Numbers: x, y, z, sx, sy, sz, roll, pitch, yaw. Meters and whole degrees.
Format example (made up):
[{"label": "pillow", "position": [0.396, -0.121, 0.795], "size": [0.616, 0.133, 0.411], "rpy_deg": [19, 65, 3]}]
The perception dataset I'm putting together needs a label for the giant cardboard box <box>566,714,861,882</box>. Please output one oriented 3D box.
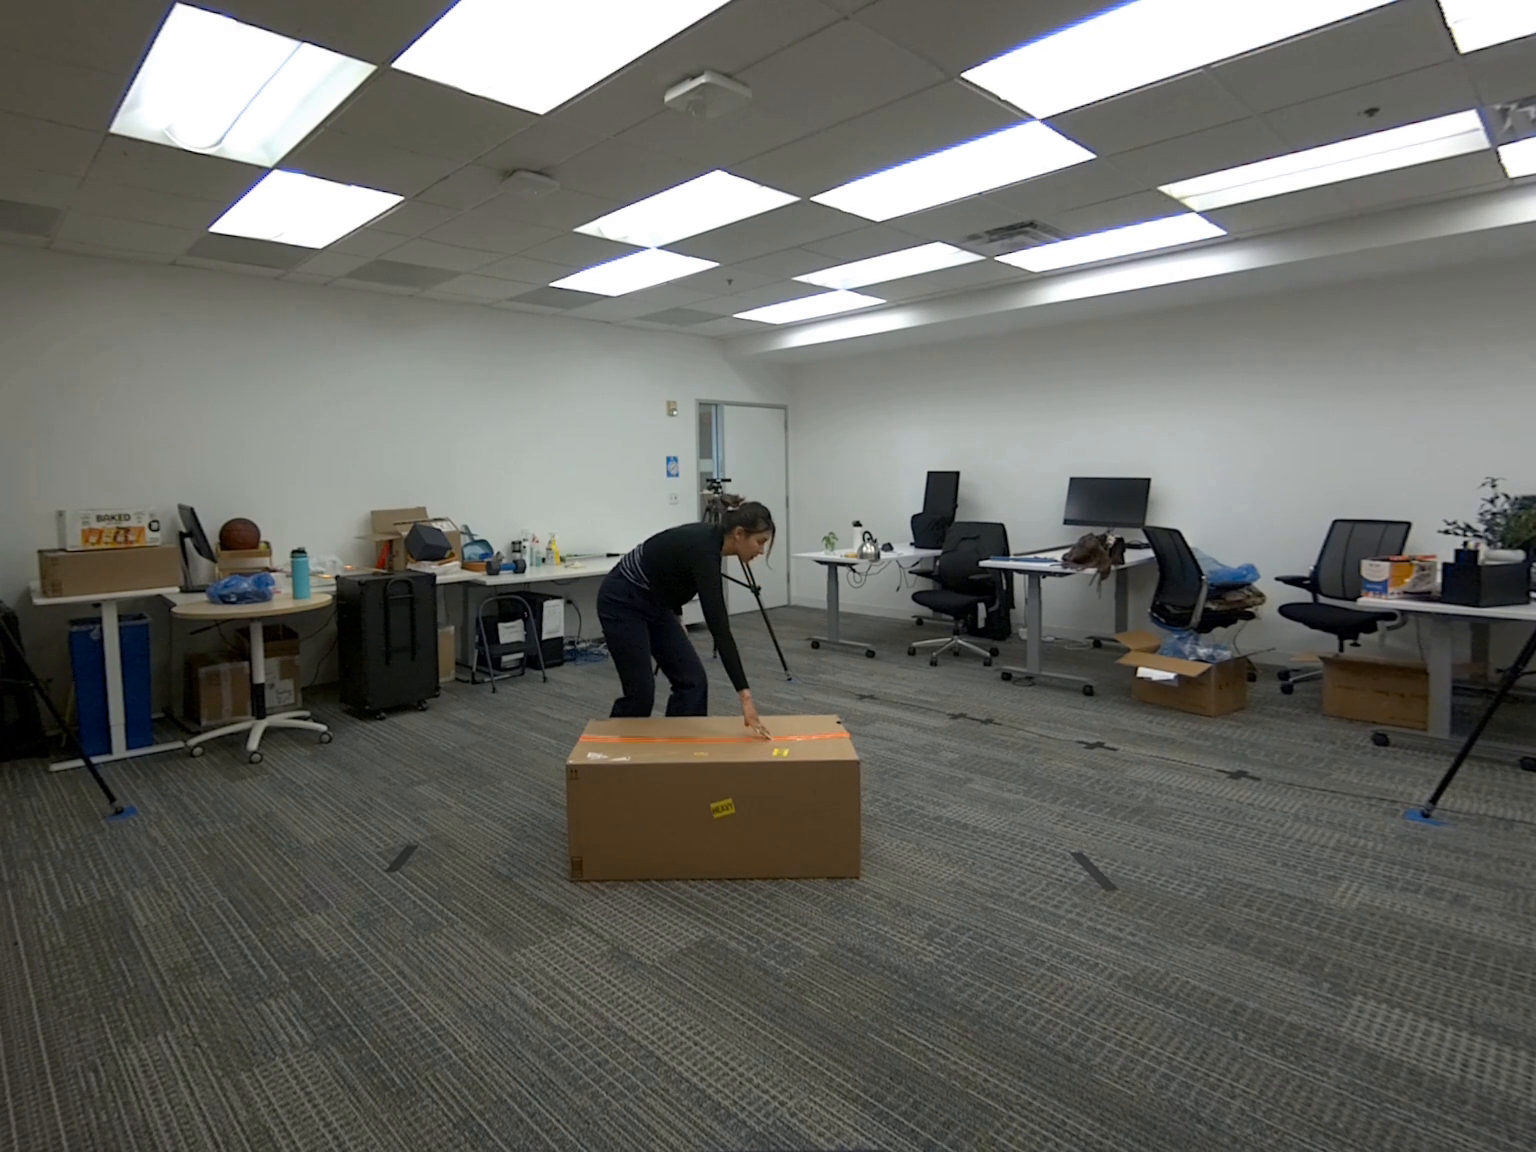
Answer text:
[{"label": "giant cardboard box", "position": [-0.202, 0.816, 3.252], "size": [1.026, 0.424, 0.580], "rpy_deg": [-1, 6, 0]}]
